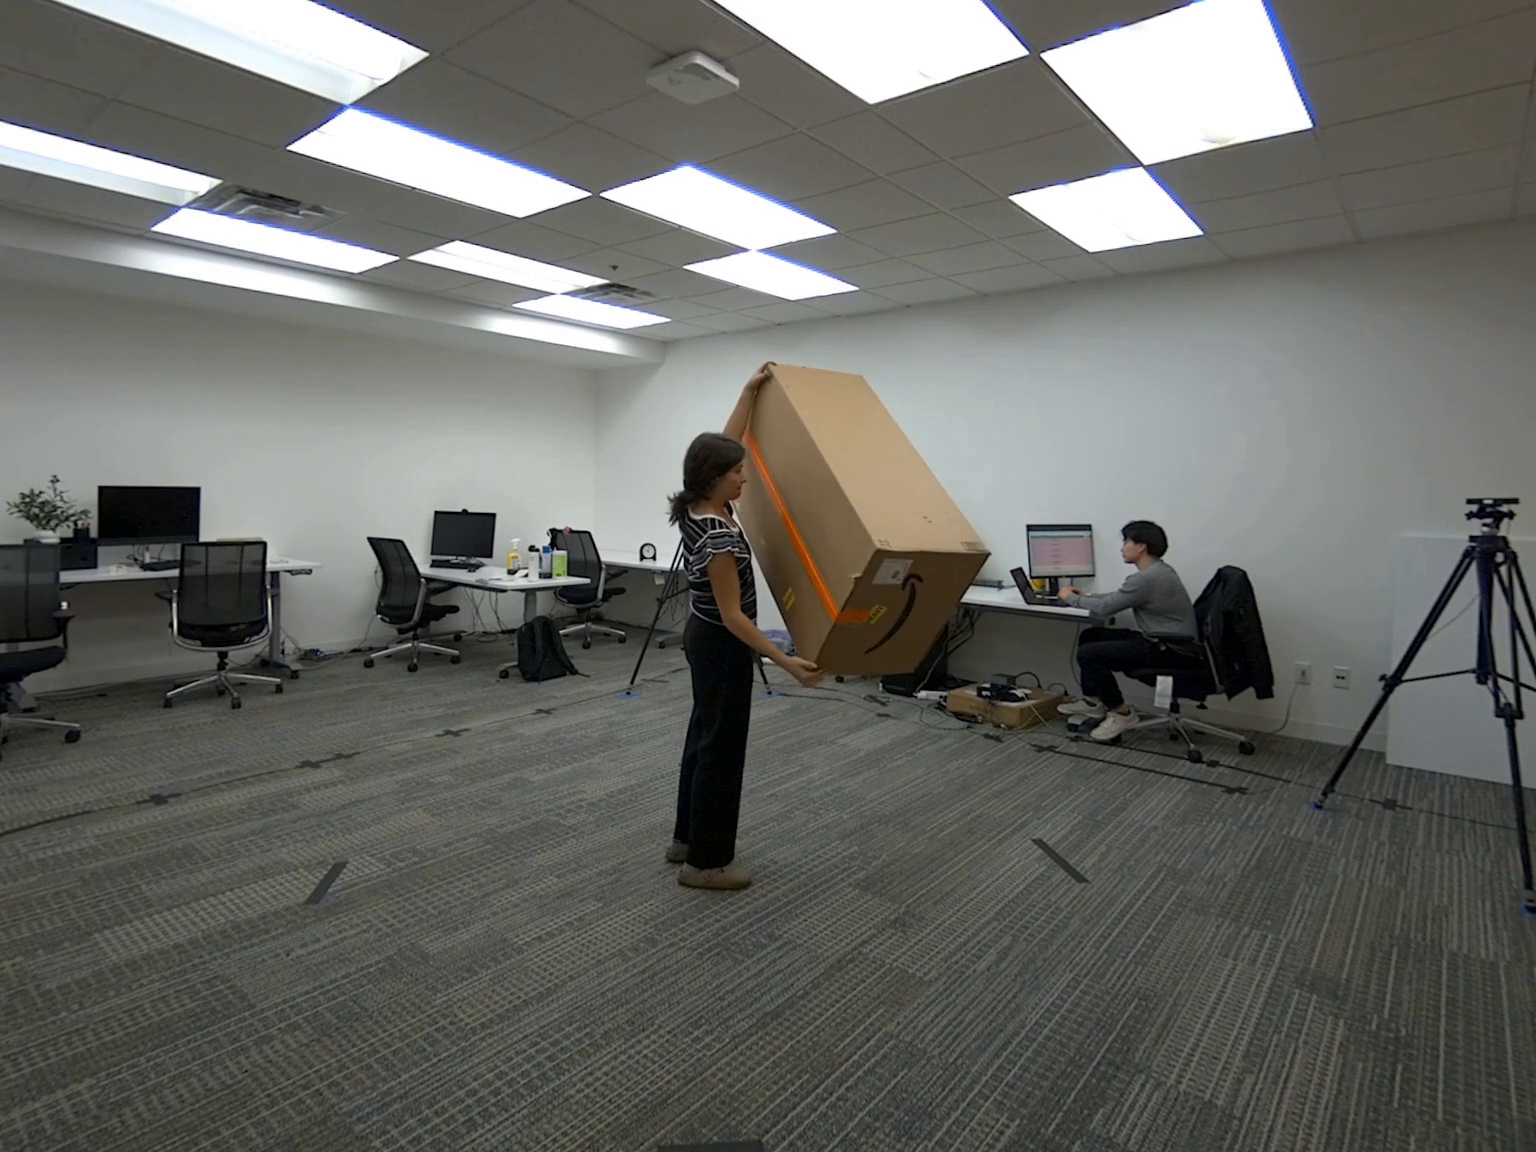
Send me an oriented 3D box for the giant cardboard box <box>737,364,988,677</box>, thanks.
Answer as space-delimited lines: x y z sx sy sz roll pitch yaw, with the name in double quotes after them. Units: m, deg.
0.240 -0.222 3.056 0.416 0.570 1.066 2 43 -26 "giant cardboard box"
